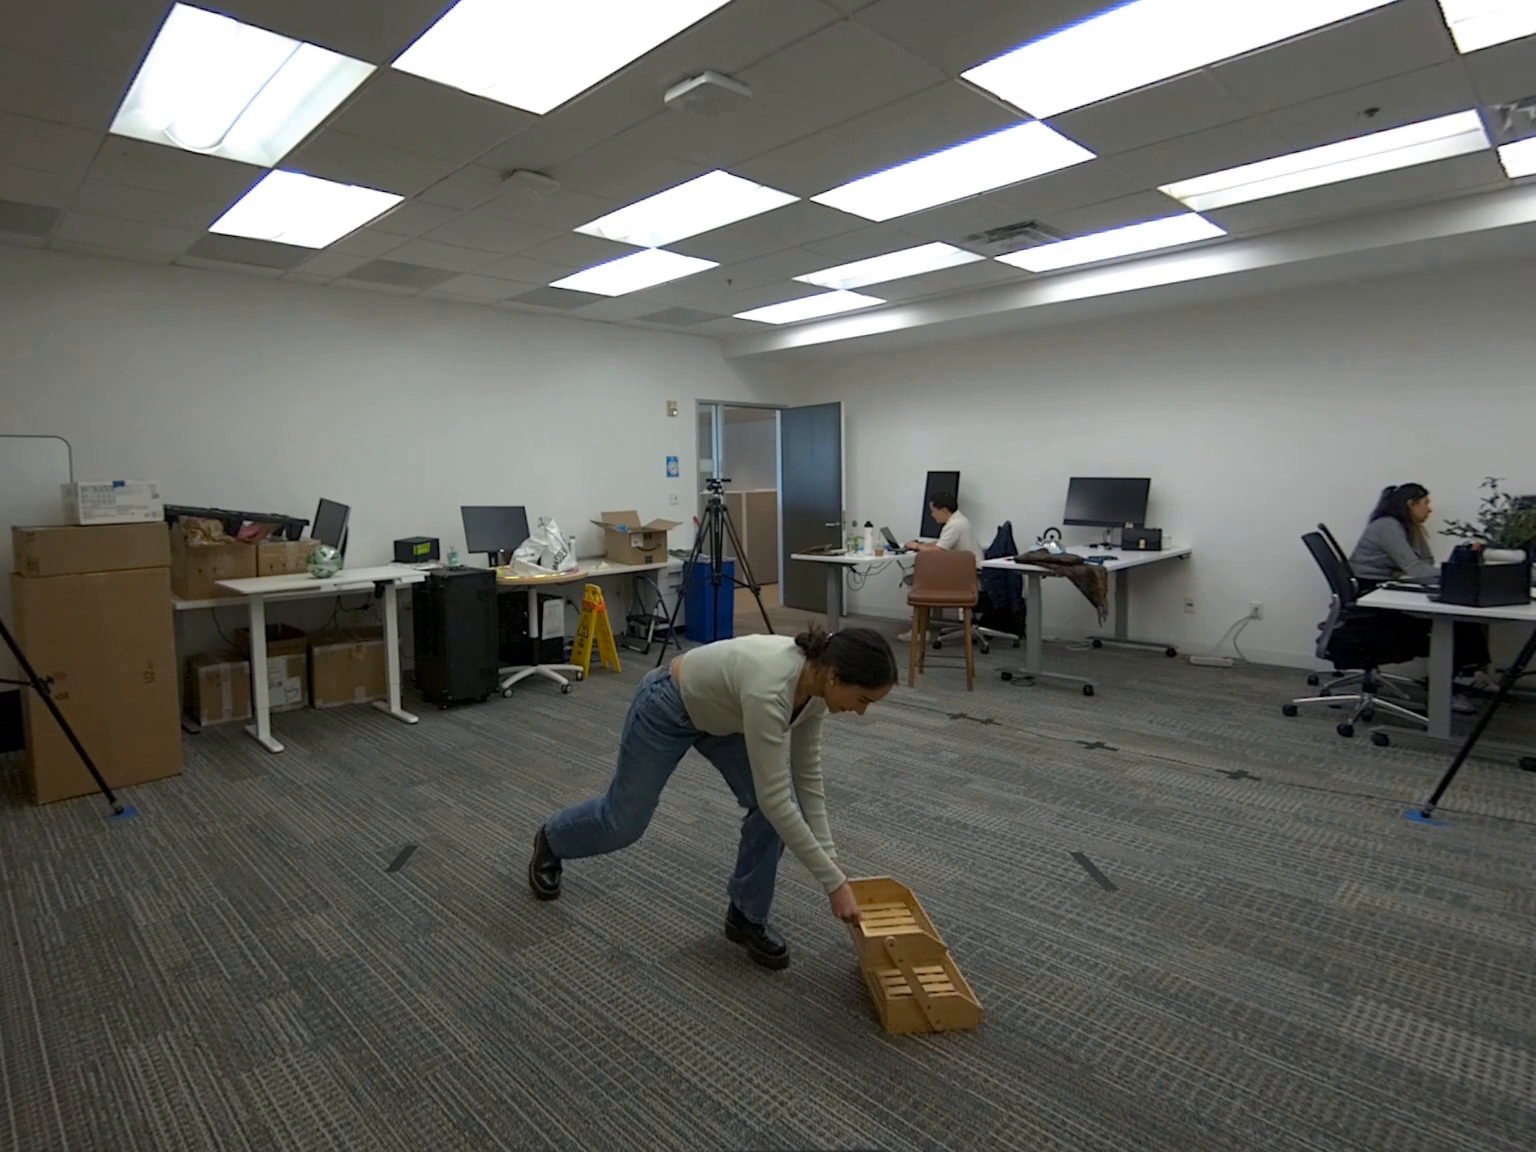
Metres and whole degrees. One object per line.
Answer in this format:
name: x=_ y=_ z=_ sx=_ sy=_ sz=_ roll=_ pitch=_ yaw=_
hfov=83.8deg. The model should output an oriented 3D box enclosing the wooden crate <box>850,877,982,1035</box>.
wooden crate: x=0.385 y=1.002 z=2.279 sx=0.301 sy=0.272 sz=0.327 roll=-3 pitch=5 yaw=-5
